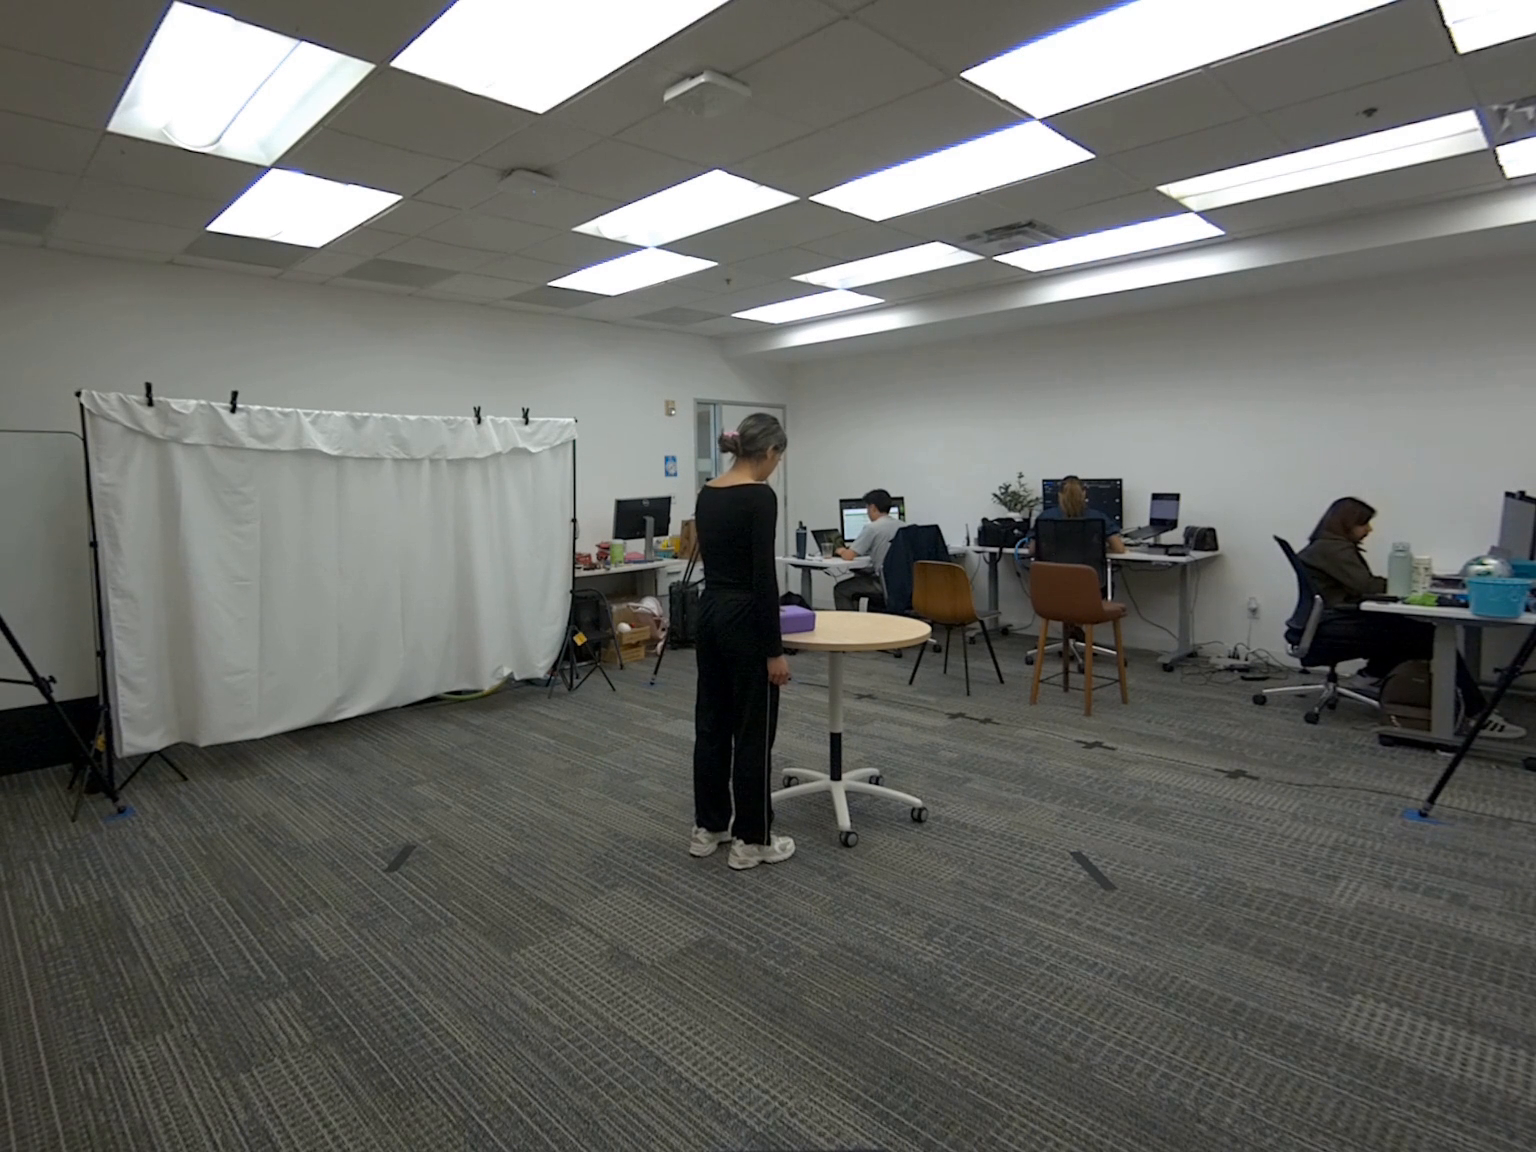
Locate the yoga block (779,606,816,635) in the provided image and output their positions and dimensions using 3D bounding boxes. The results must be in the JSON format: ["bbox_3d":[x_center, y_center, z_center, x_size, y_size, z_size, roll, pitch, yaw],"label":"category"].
[{"bbox_3d":[0.063,0.176,3.418,0.224,0.076,0.153,-4,11,-28],"label":"yoga block"}]
